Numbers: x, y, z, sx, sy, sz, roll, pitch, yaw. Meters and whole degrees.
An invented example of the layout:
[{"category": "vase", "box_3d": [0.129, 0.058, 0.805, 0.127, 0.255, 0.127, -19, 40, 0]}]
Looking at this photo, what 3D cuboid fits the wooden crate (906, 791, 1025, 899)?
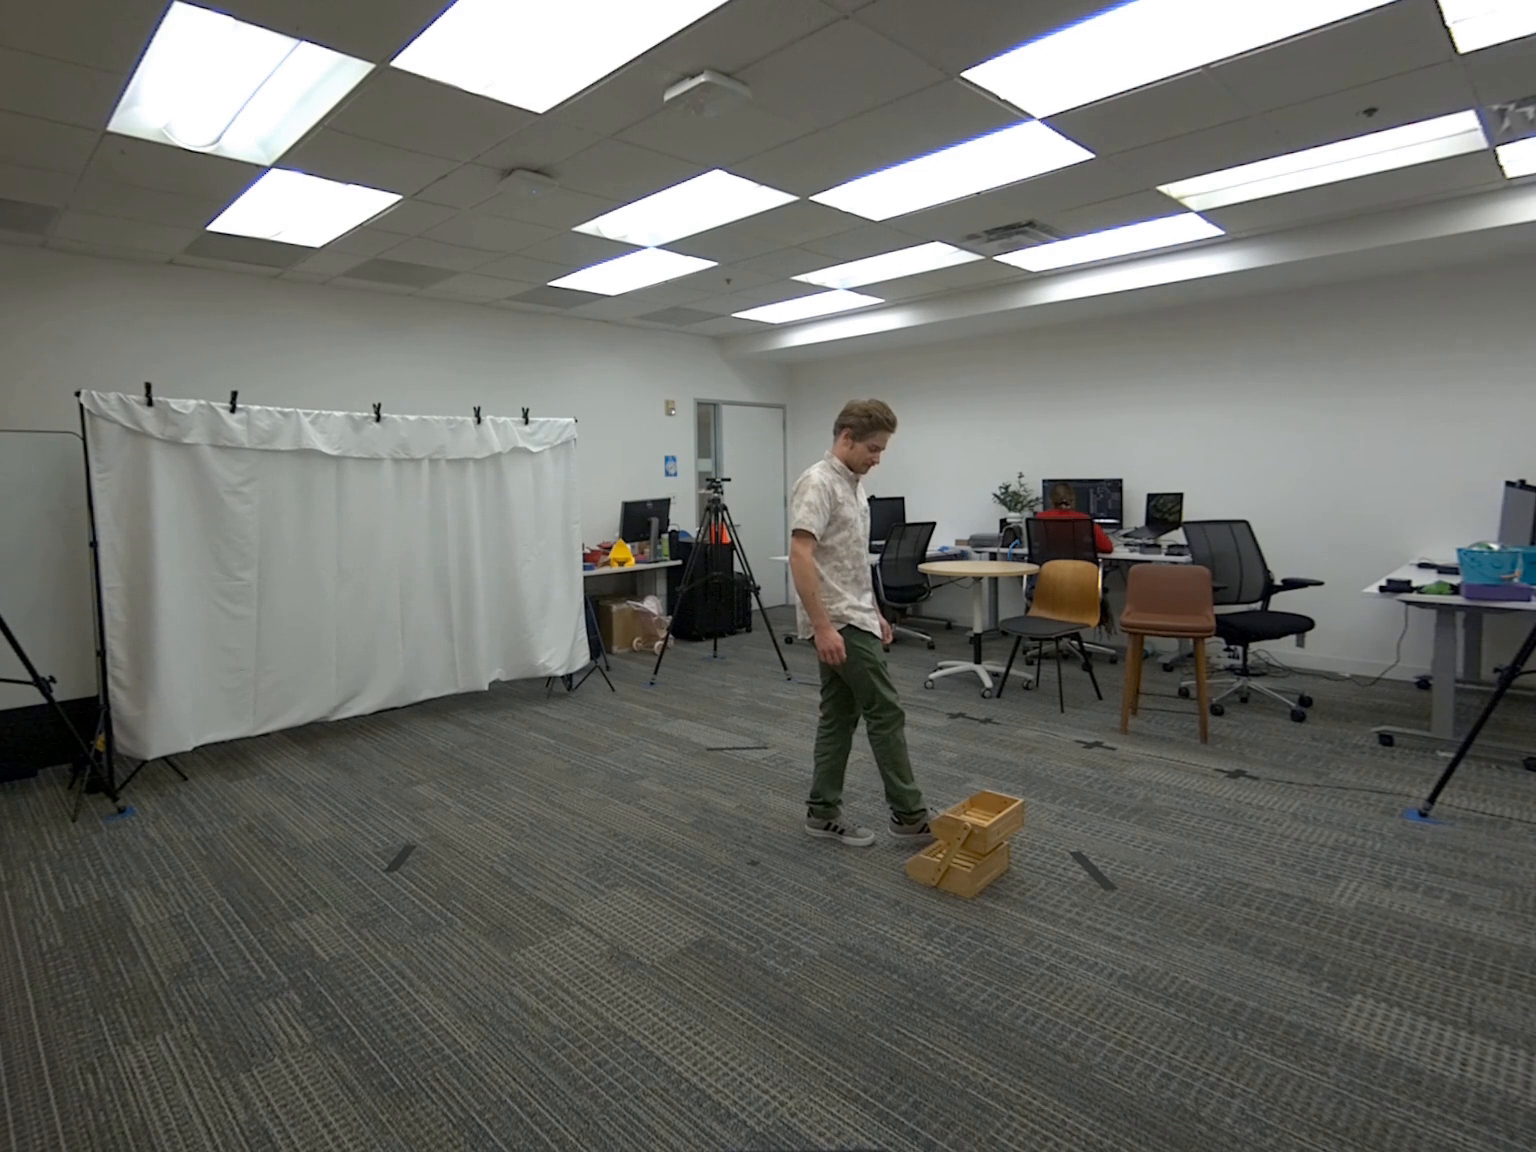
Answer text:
[{"category": "wooden crate", "box_3d": [0.689, 0.911, 2.975, 0.311, 0.272, 0.316, 4, 7, 40]}]
